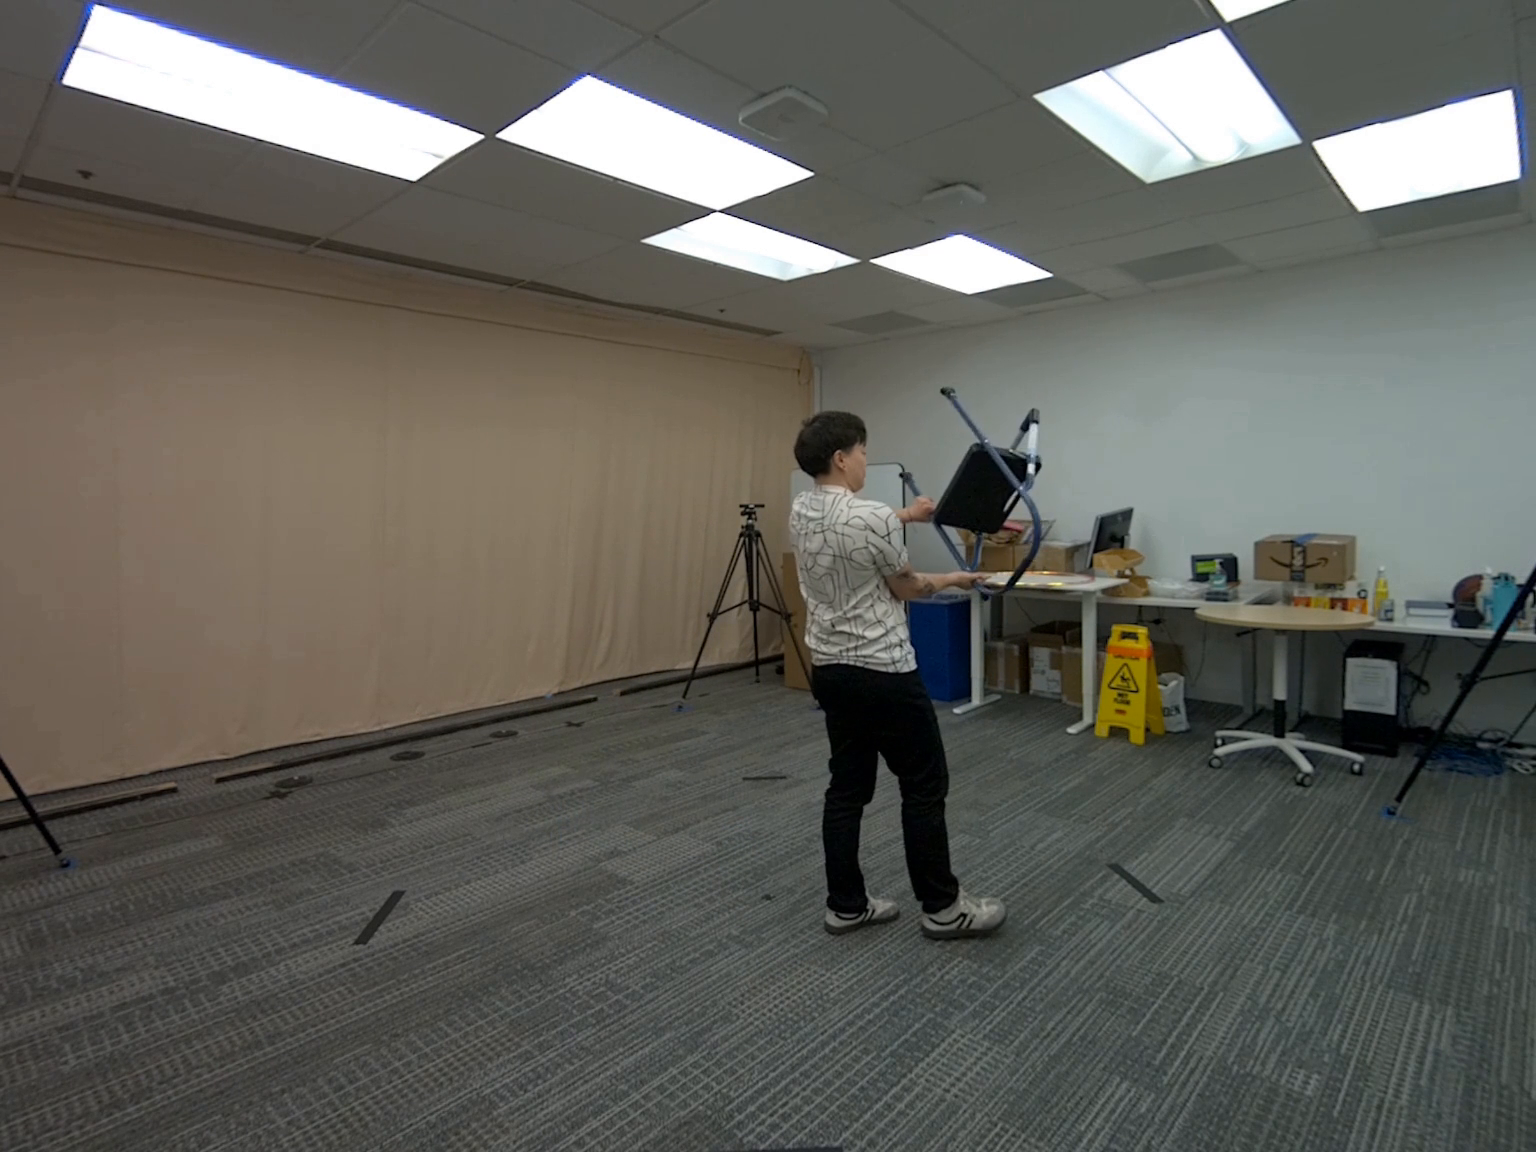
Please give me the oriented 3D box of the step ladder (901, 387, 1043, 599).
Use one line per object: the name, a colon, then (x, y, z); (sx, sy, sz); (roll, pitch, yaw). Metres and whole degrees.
step ladder: (0.723, -0.244, 2.813); (0.346, 0.616, 0.427); (10, -43, -9)
